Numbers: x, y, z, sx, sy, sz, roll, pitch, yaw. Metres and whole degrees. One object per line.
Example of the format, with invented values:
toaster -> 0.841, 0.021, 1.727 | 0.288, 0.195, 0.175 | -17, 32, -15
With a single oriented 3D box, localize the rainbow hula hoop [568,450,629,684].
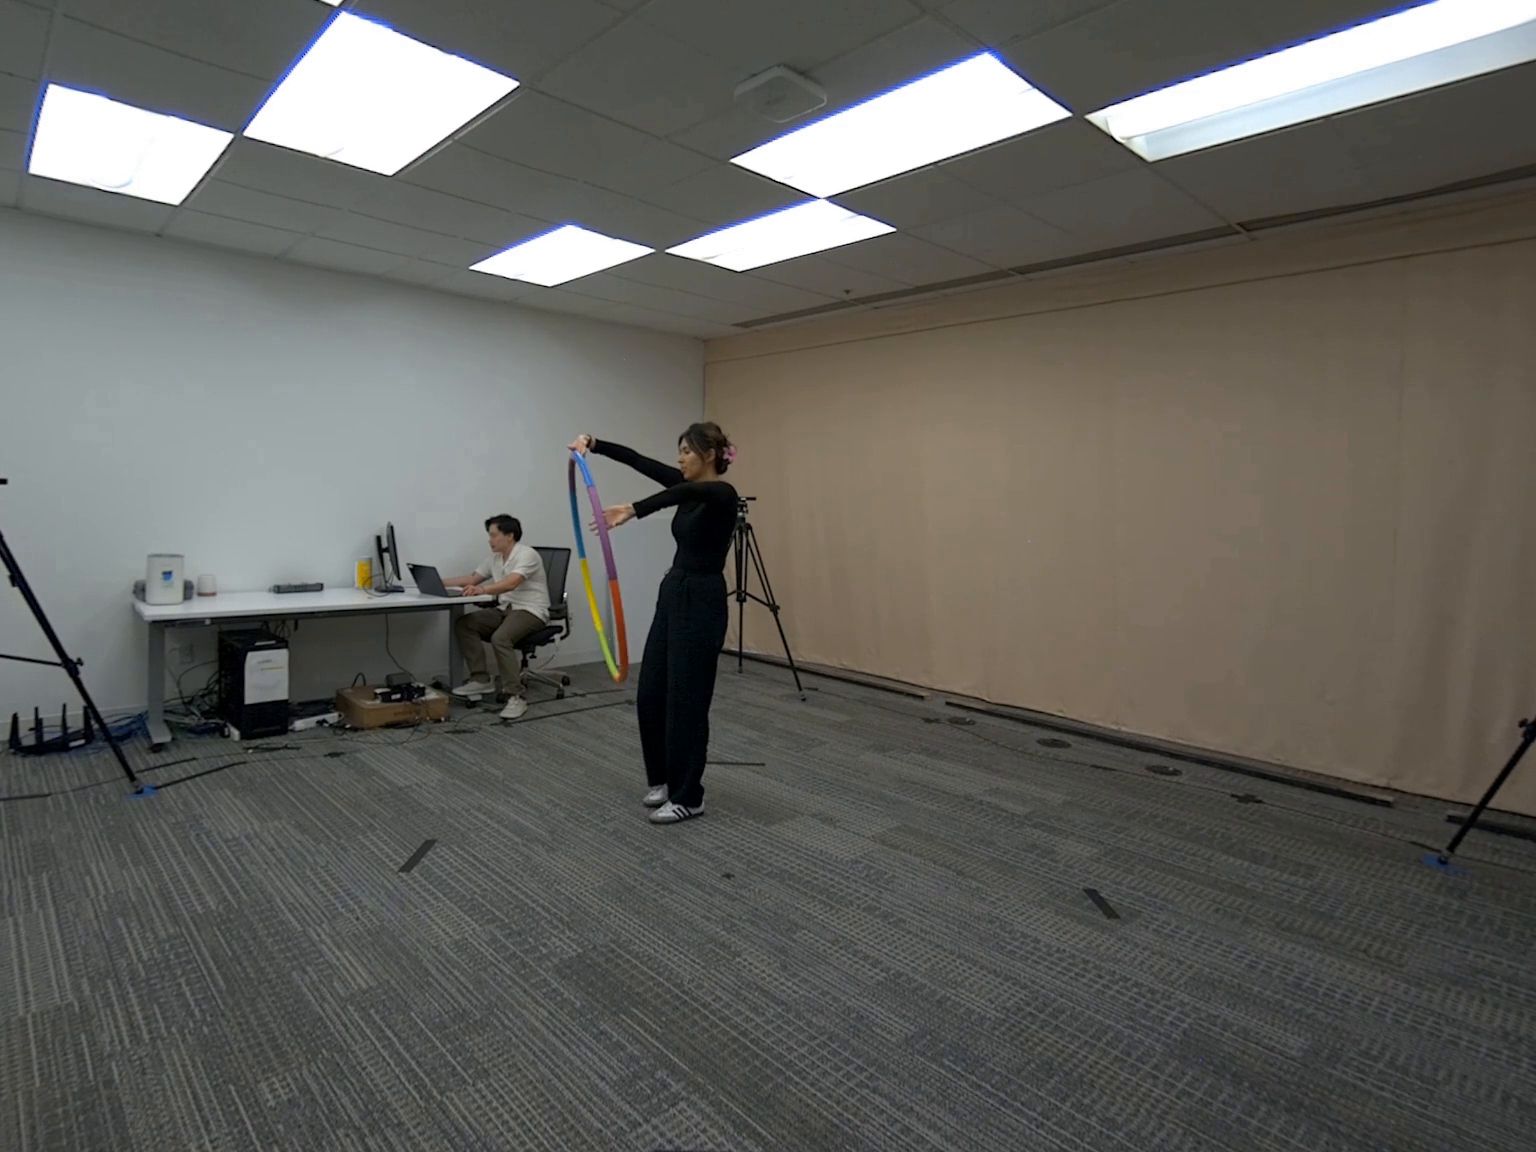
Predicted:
rainbow hula hoop -> -0.730, -0.038, 3.547 | 0.051, 0.979, 1.001 | -12, 8, -16
